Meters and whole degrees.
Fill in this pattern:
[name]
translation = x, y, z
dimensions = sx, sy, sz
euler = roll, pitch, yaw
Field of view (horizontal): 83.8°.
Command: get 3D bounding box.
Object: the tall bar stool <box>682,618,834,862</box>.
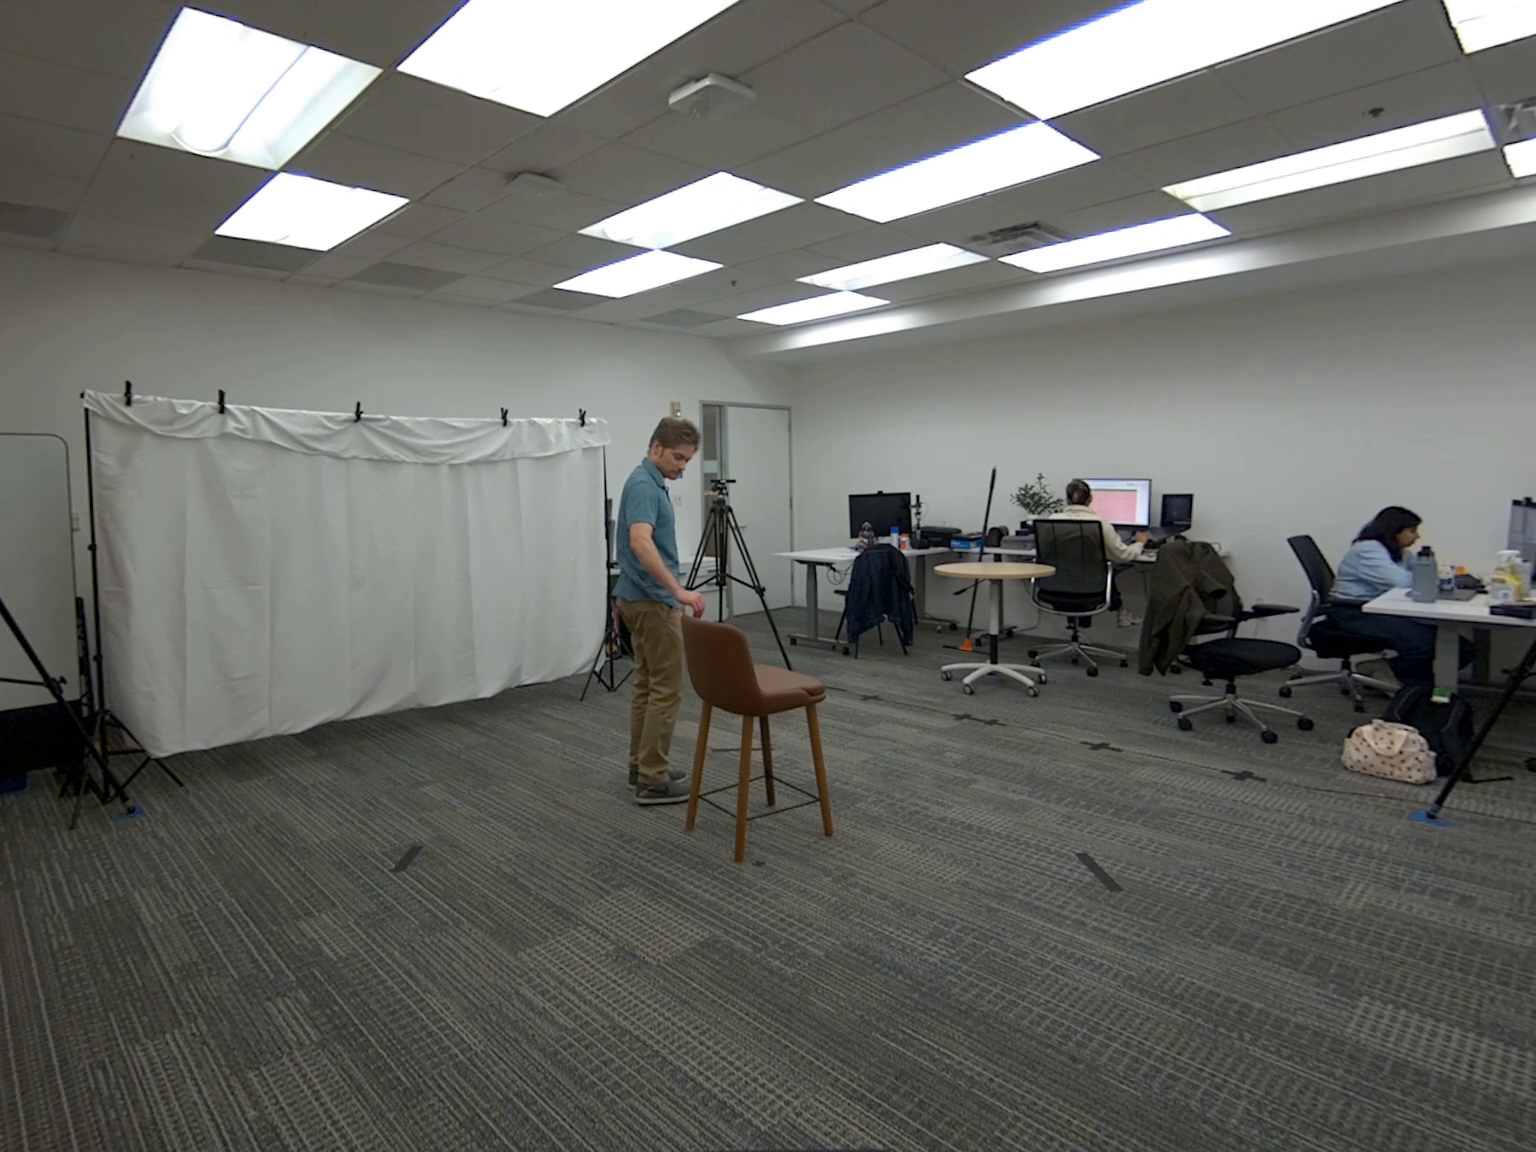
[tall bar stool]
translation = -0.051, 0.587, 3.360
dimensions = 0.456, 0.886, 0.470
euler = -6, 6, -35
